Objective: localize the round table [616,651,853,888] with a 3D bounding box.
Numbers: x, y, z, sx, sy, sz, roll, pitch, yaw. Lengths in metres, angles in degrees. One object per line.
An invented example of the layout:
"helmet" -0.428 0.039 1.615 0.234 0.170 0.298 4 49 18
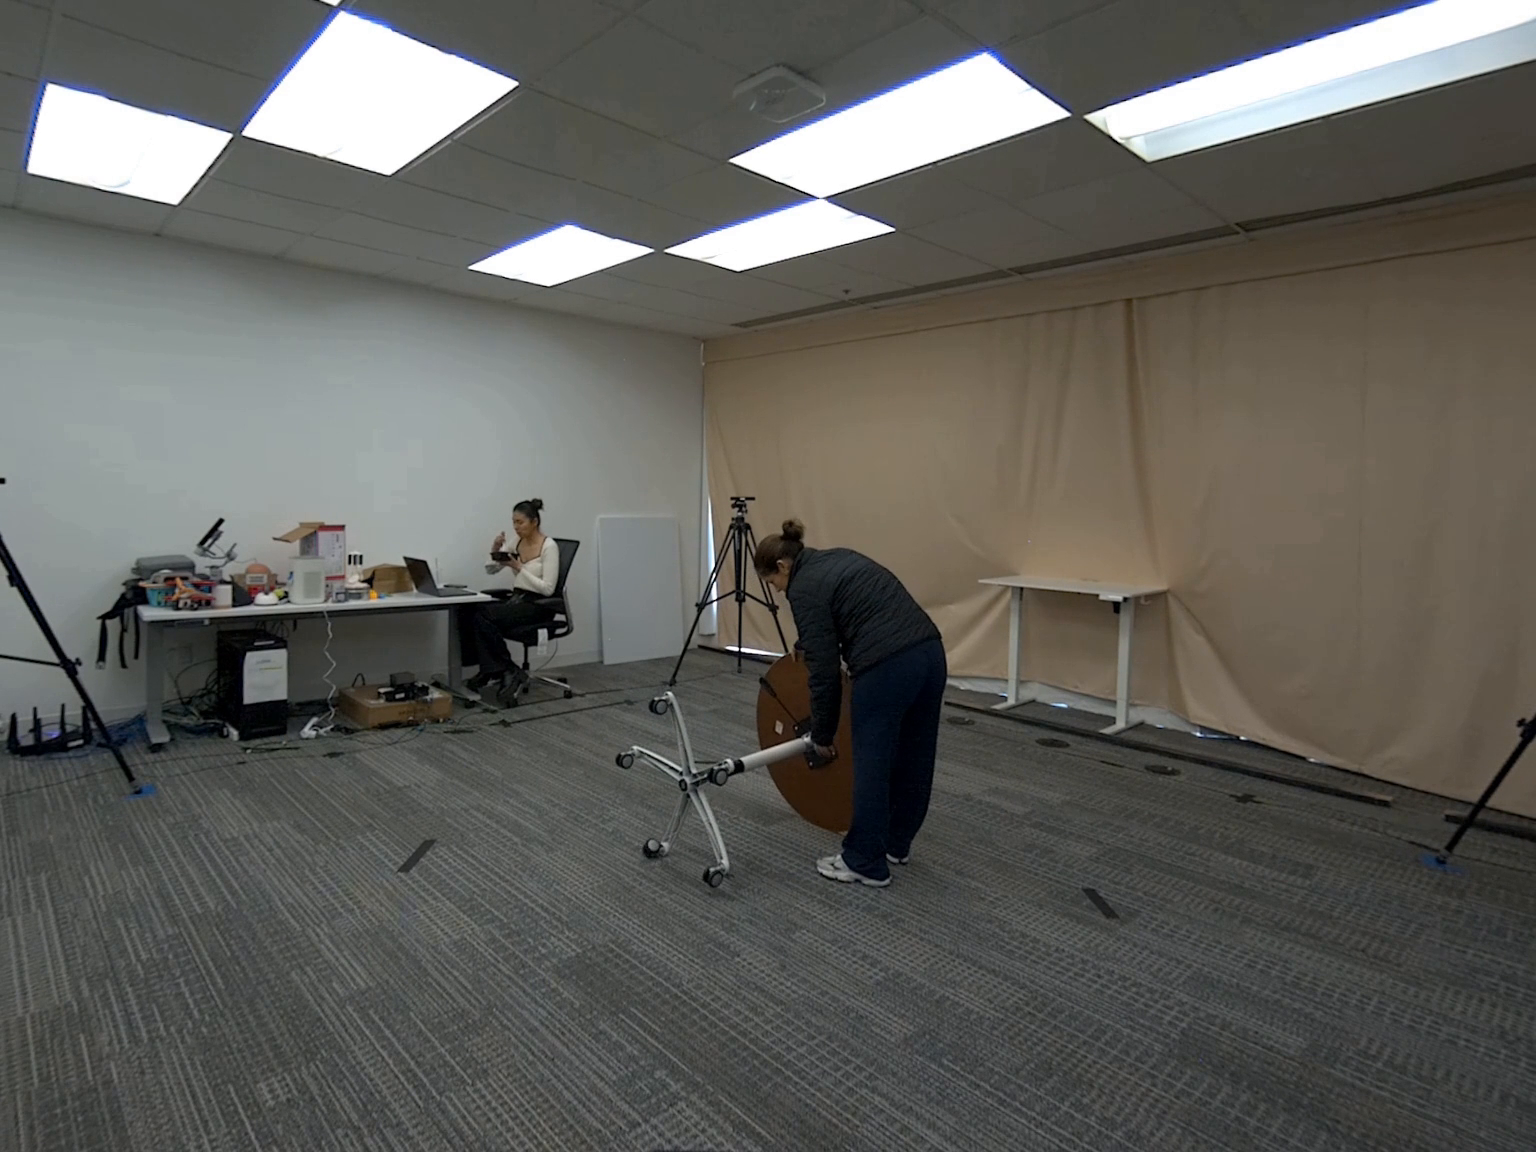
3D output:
"round table" -0.079 0.742 3.308 0.771 0.781 0.805 -9 10 -40
